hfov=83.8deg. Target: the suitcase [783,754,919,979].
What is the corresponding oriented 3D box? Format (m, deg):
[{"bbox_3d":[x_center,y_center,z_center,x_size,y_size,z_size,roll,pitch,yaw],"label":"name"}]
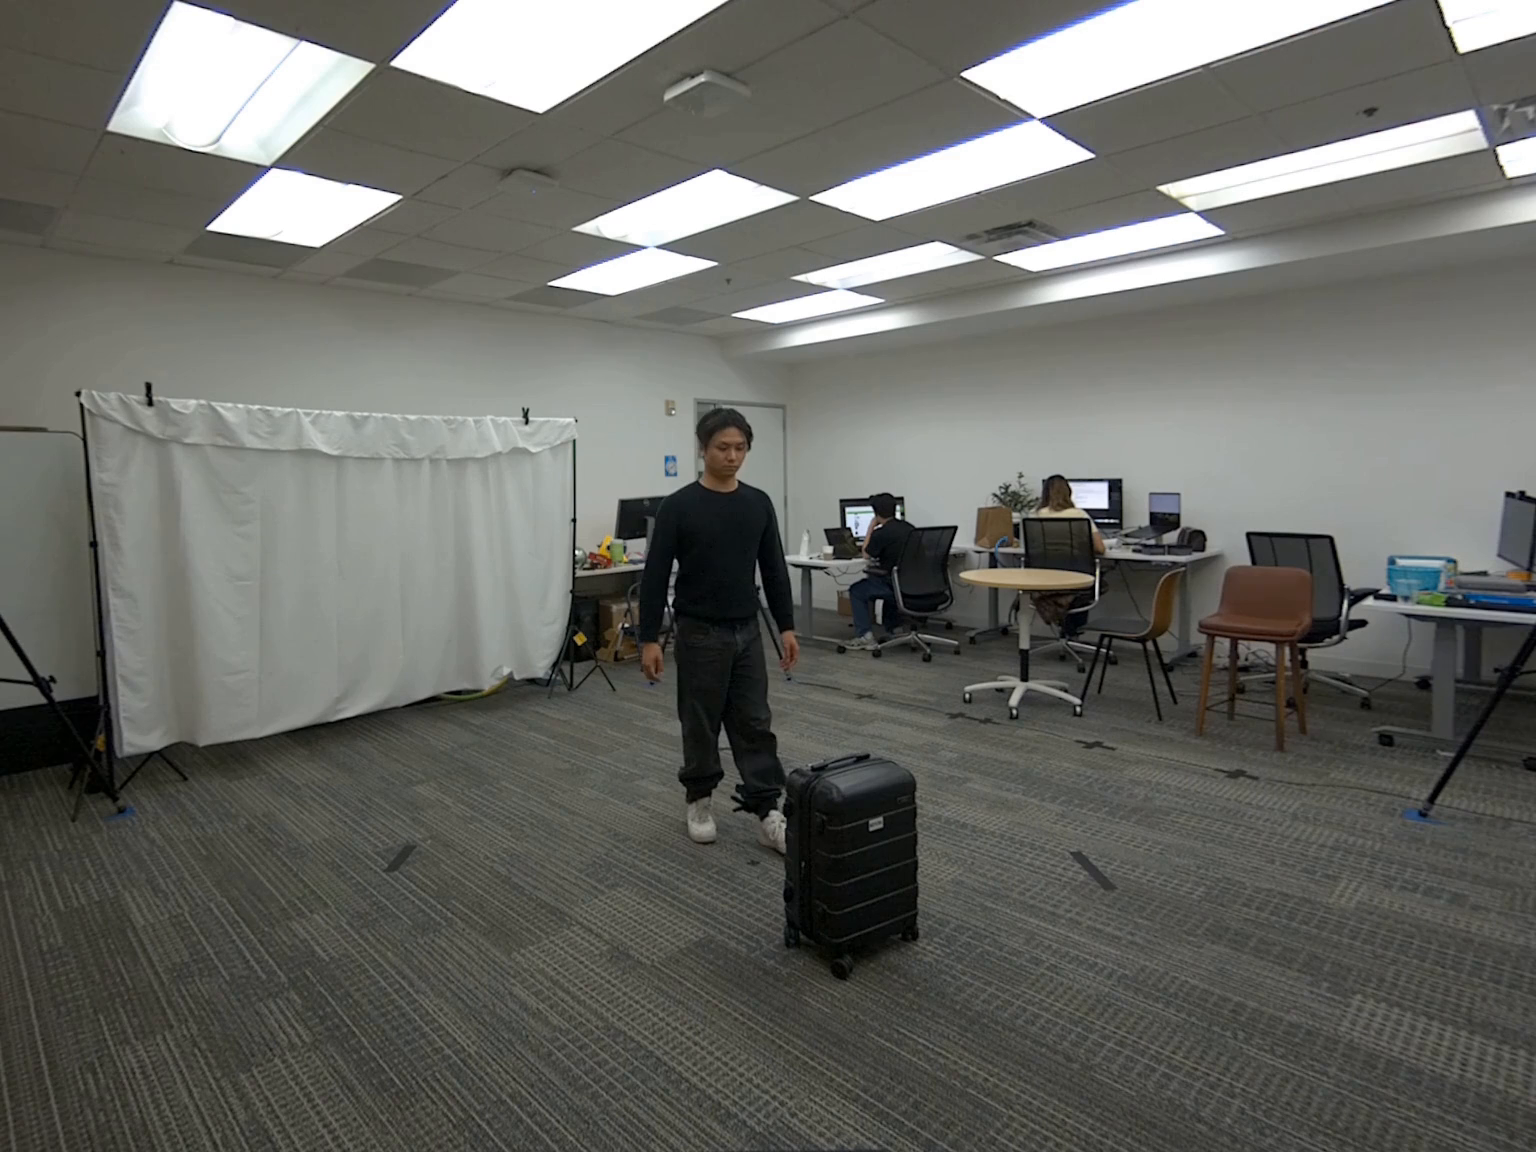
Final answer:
[{"bbox_3d":[0.257,0.825,2.549,0.366,0.547,0.255,-3,5,-34],"label":"suitcase"}]
